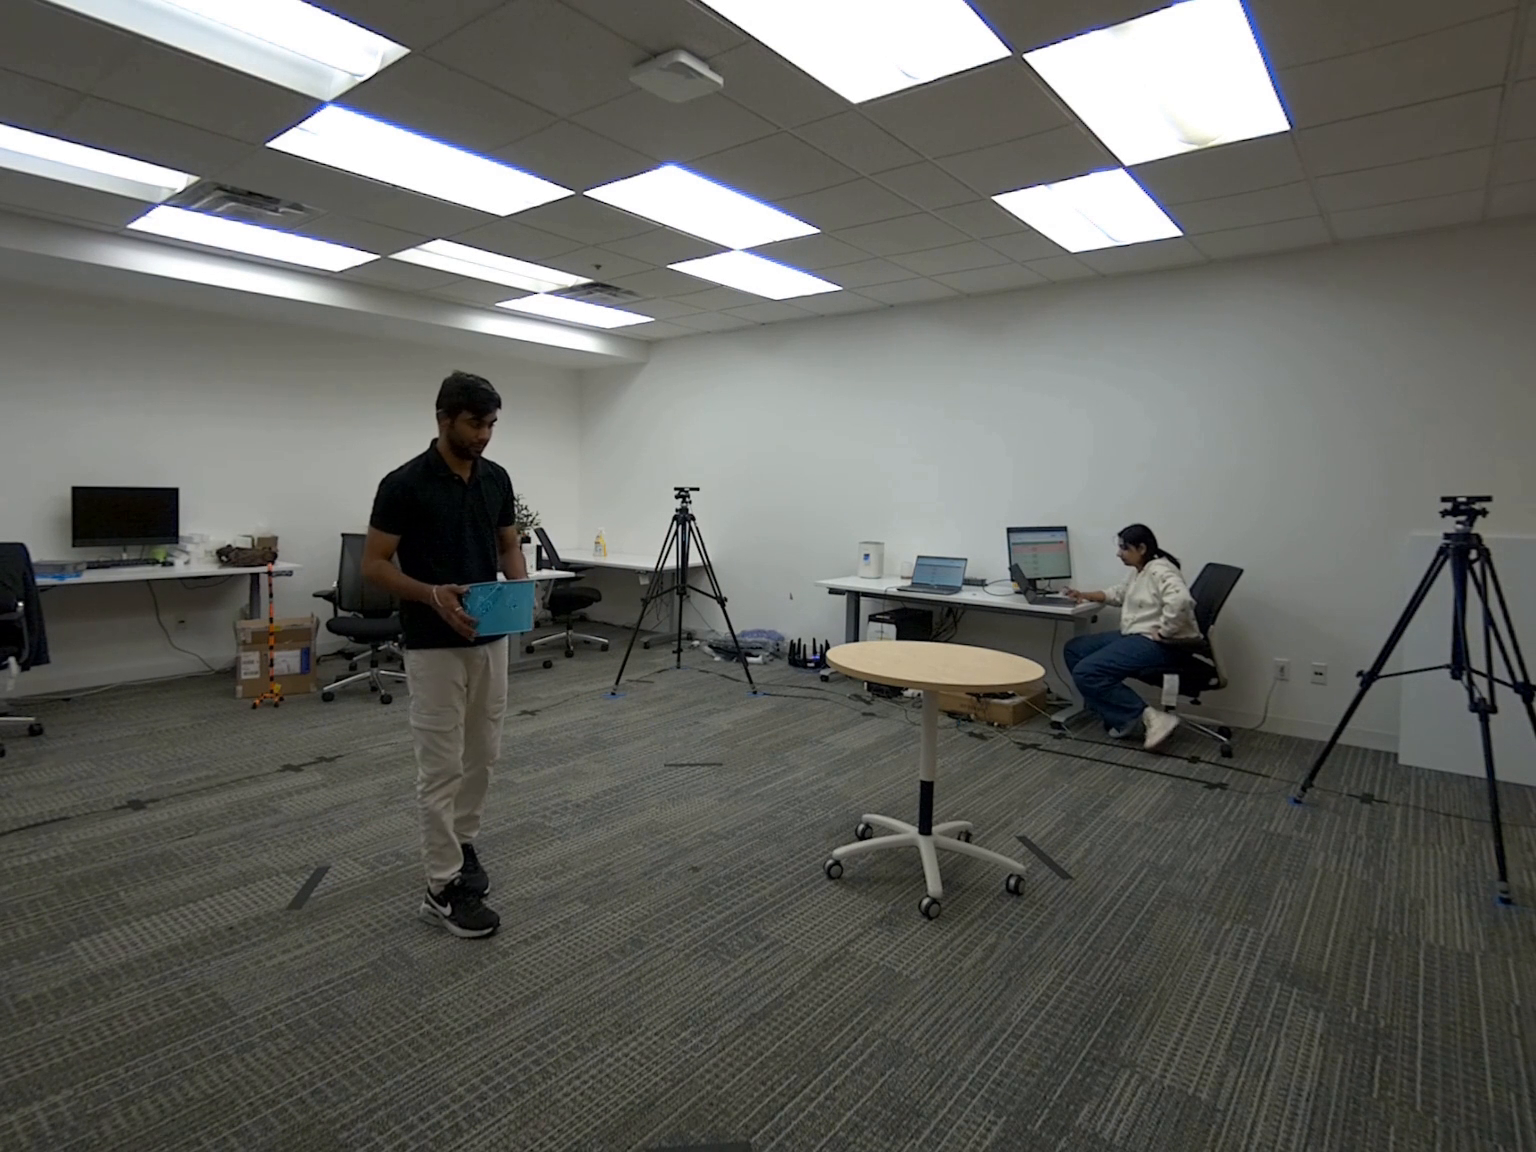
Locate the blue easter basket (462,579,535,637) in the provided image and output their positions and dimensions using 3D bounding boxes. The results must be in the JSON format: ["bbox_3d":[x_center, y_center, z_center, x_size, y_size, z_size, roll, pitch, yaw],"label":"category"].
[{"bbox_3d":[-0.853,0.096,2.562,0.243,0.156,0.244,-6,0,-2],"label":"blue easter basket"}]
